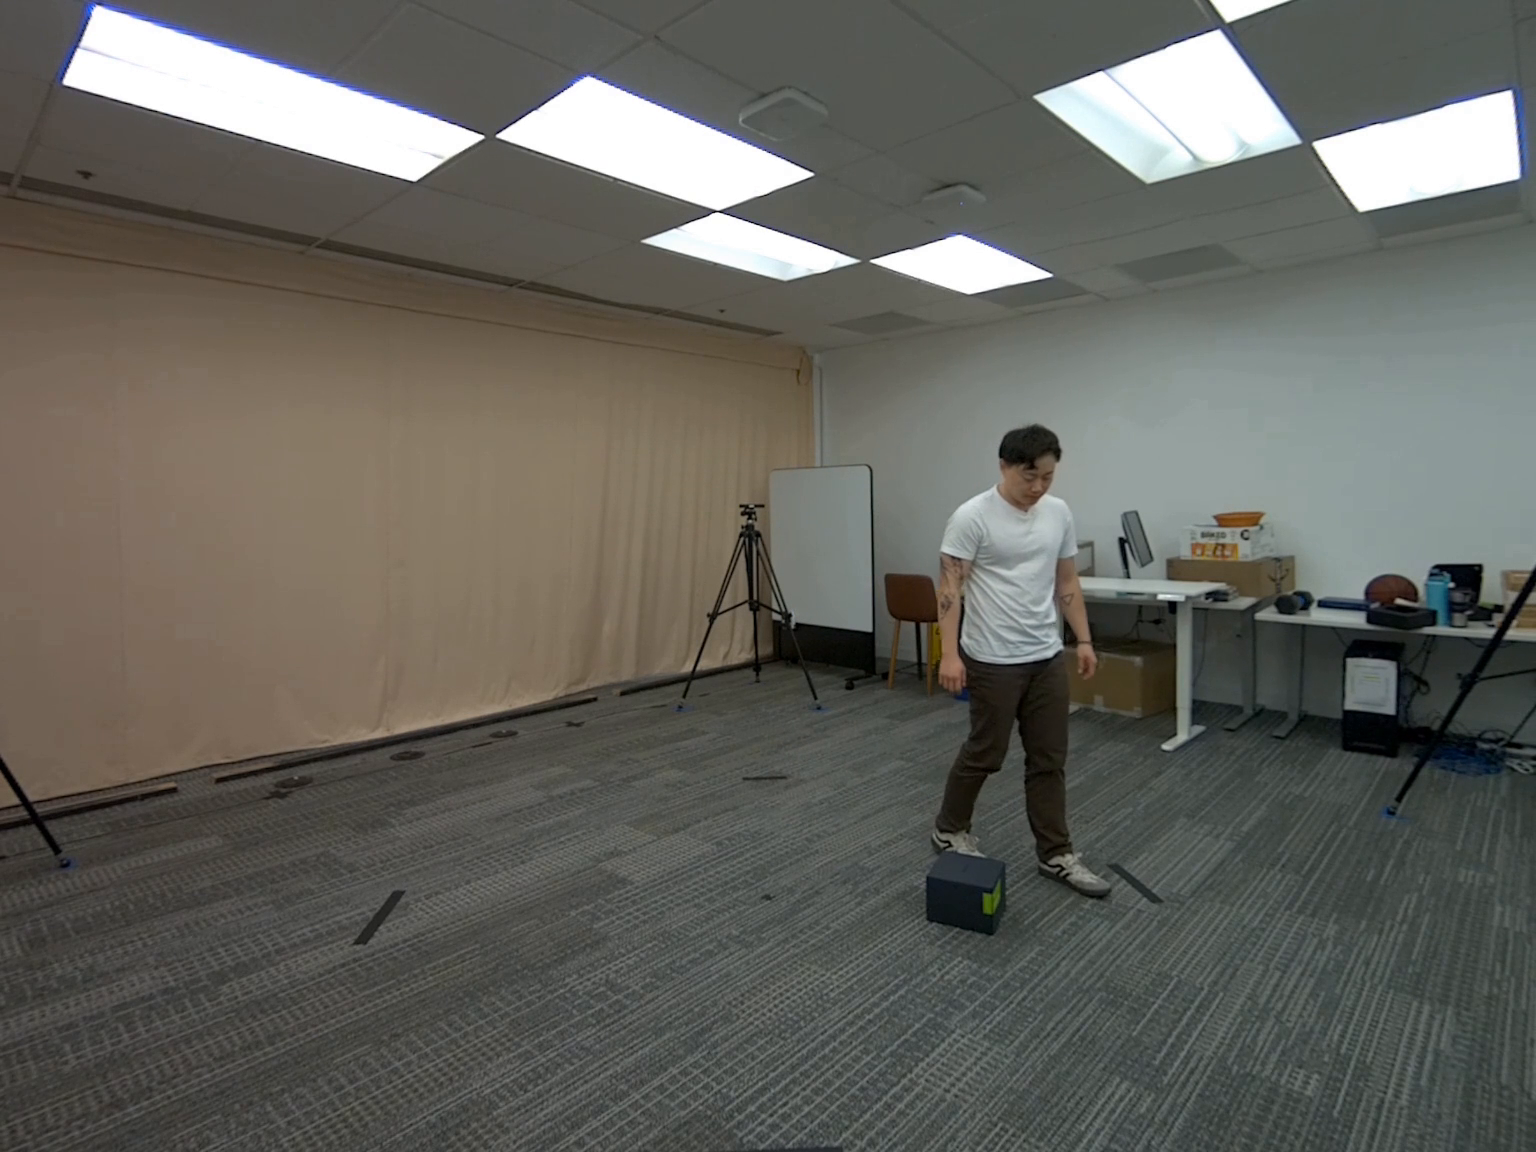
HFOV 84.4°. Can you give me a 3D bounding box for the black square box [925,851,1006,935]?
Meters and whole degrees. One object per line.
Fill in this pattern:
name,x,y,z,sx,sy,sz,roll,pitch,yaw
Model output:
black square box,0.672,1.056,2.833,0.223,0.155,0.222,1,5,27
